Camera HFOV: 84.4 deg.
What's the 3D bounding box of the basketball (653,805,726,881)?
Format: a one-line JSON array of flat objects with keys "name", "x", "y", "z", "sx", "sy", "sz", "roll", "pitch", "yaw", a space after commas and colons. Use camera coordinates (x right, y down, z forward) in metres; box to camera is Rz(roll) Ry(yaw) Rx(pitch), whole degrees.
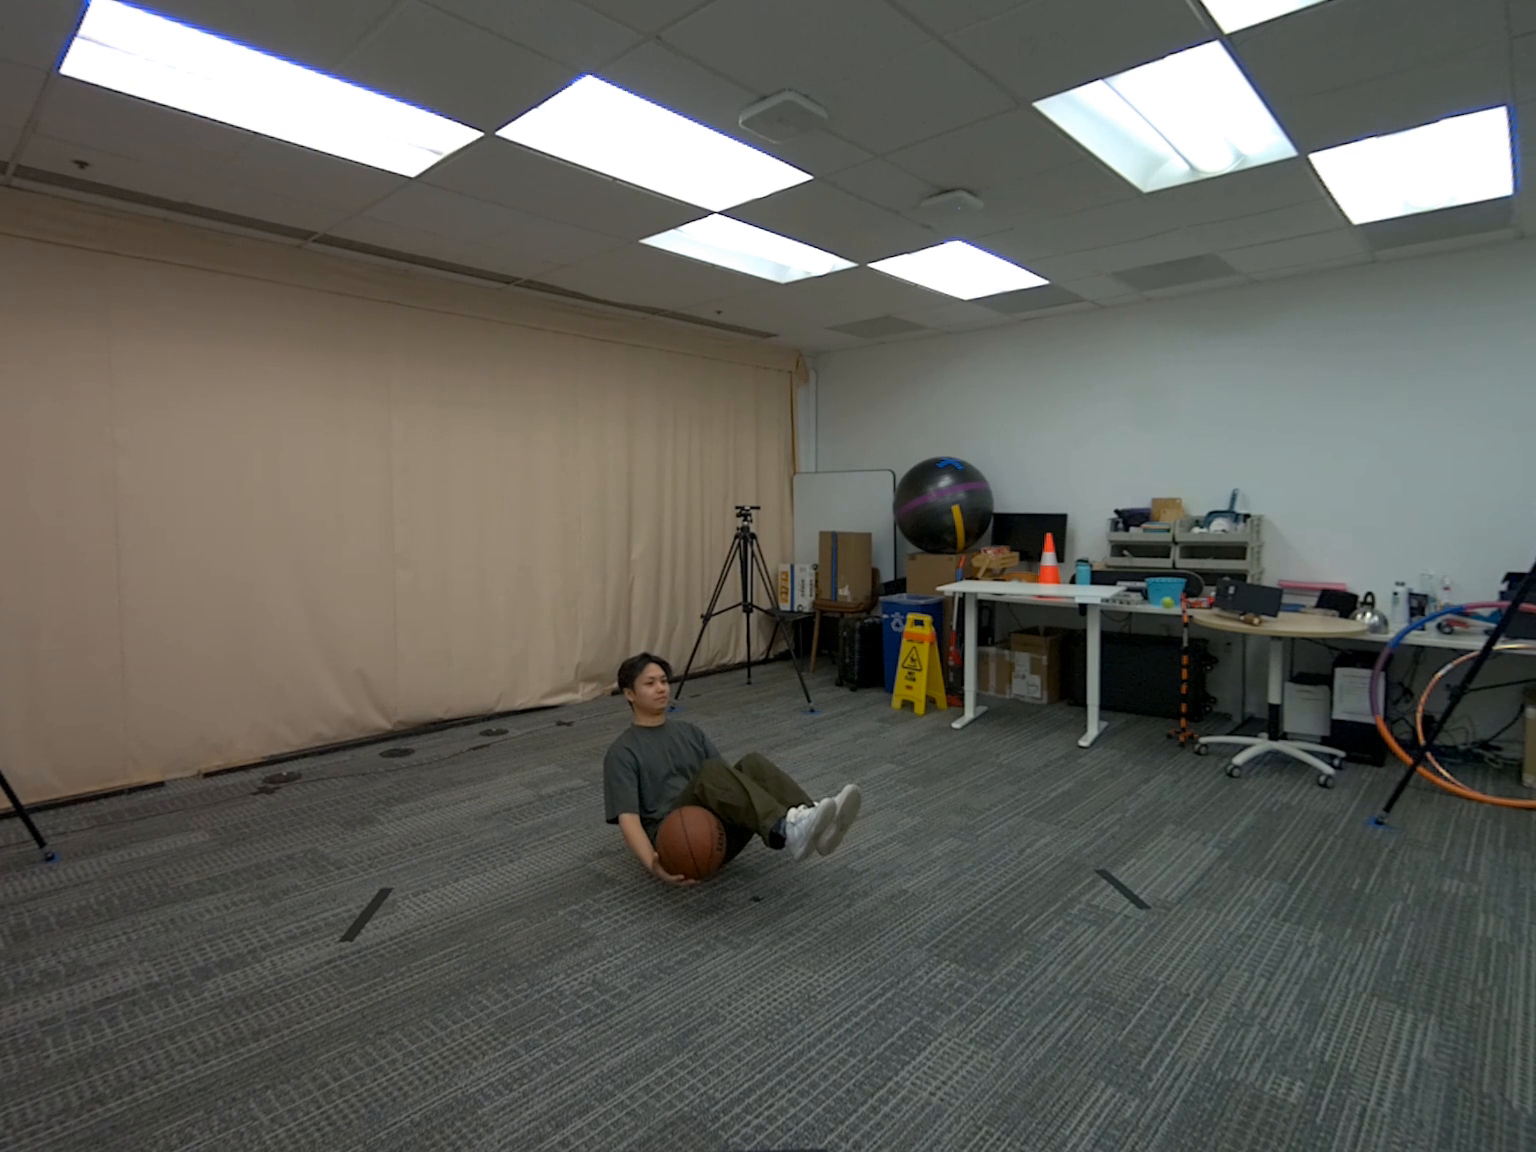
[{"name": "basketball", "x": -0.245, "y": 0.889, "z": 2.860, "sx": 0.236, "sy": 0.235, "sz": 0.237, "roll": 0, "pitch": 4, "yaw": -2}]
